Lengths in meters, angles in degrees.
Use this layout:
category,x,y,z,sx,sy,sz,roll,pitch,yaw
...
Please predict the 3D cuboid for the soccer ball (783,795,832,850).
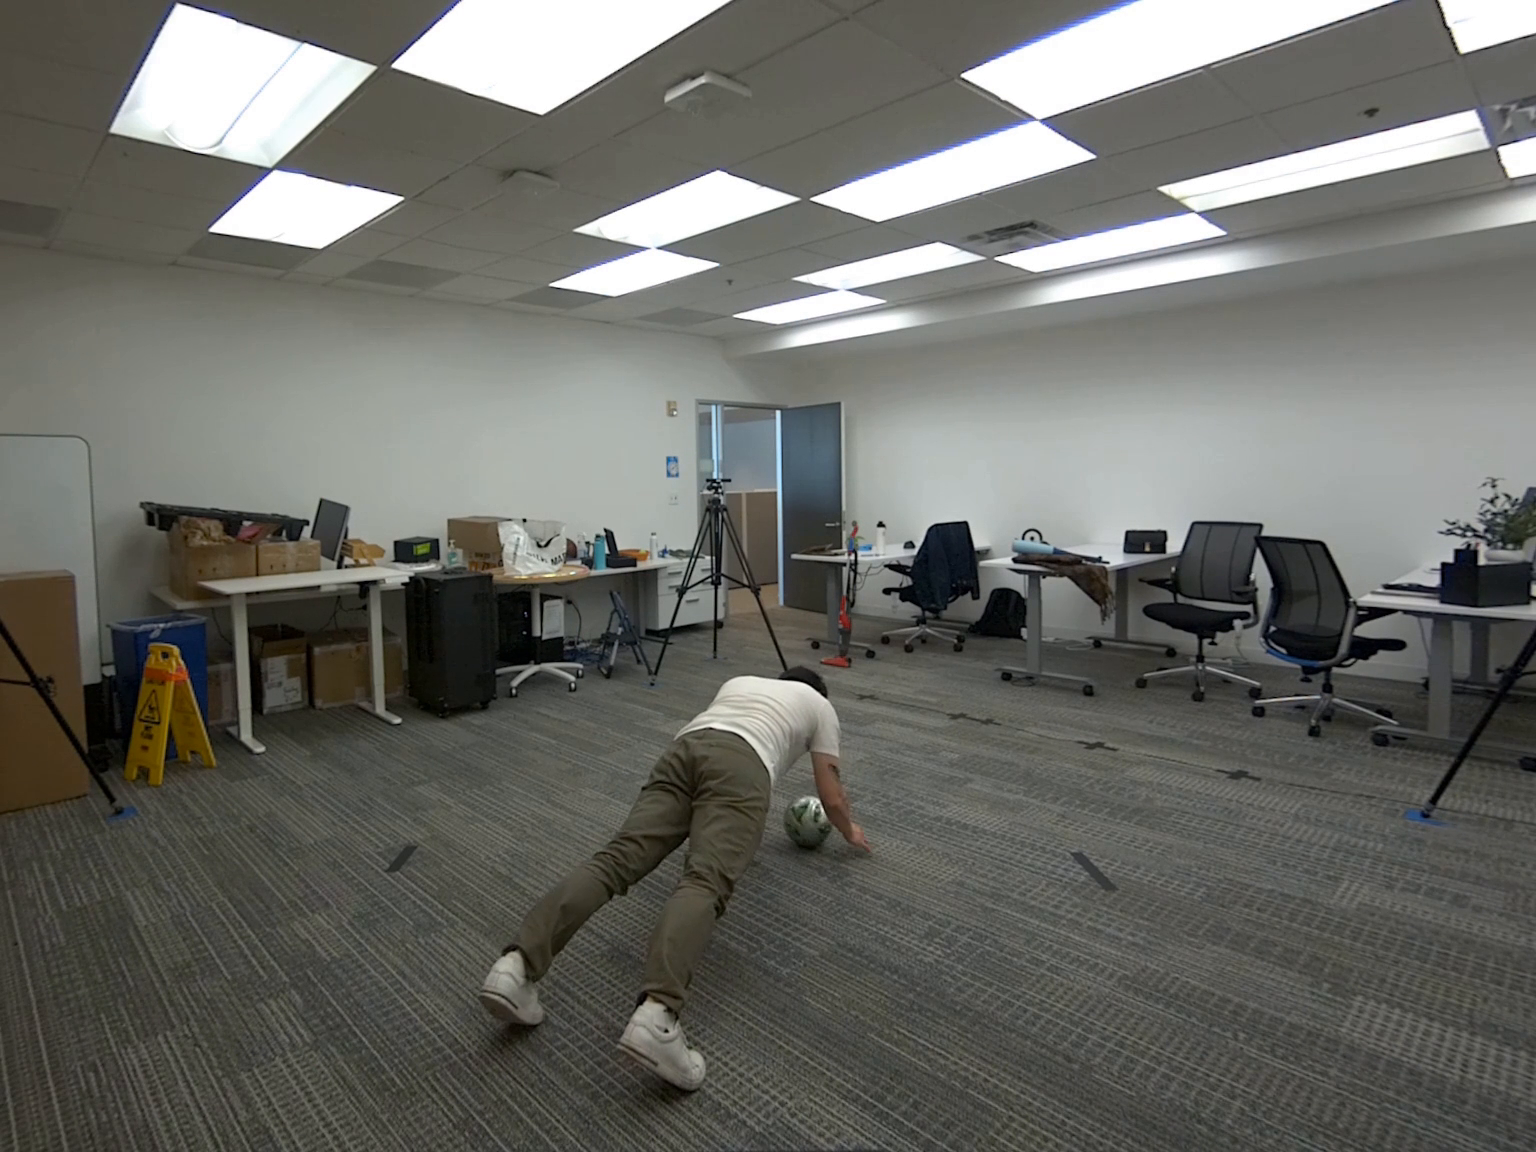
category,x,y,z,sx,sy,sz,roll,pitch,yaw
soccer ball,0.150,0.926,3.248,0.187,0.187,0.188,-1,5,-2
